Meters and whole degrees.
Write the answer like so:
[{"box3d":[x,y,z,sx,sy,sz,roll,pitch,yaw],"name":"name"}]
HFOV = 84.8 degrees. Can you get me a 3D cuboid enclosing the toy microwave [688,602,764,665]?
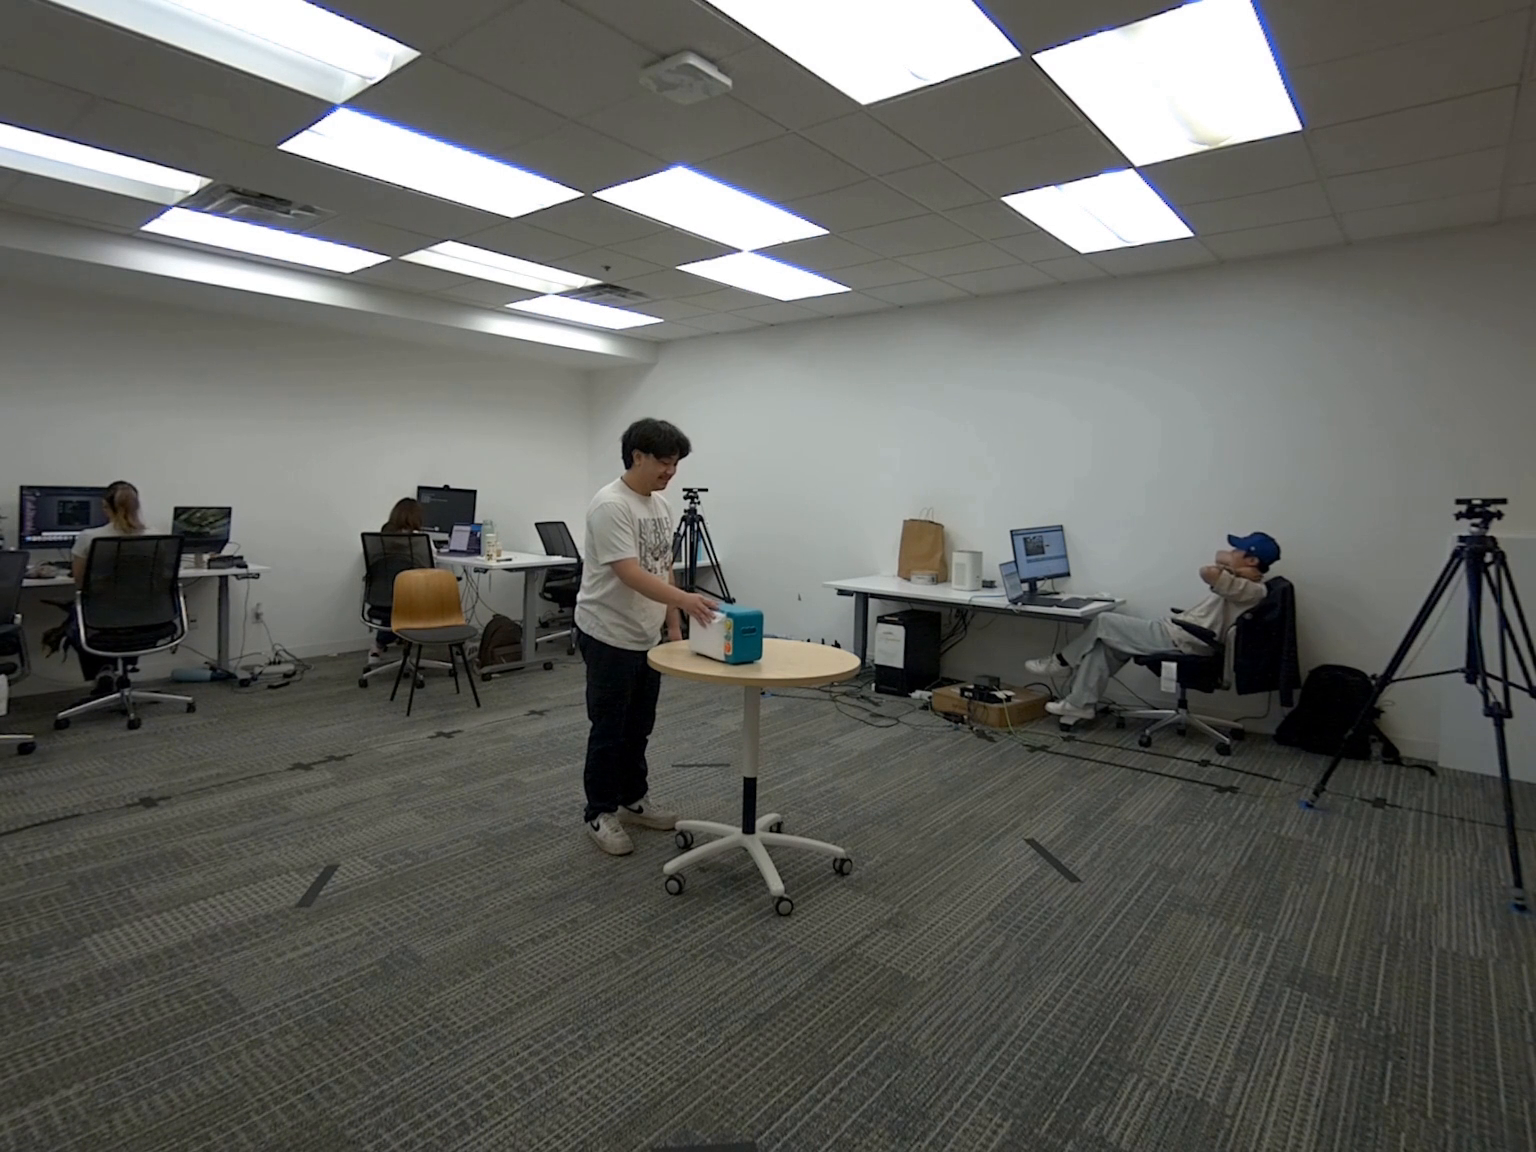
[{"box3d":[-0.165,0.196,3.008,0.148,0.183,0.296,-2,6,-37],"name":"toy microwave"}]
